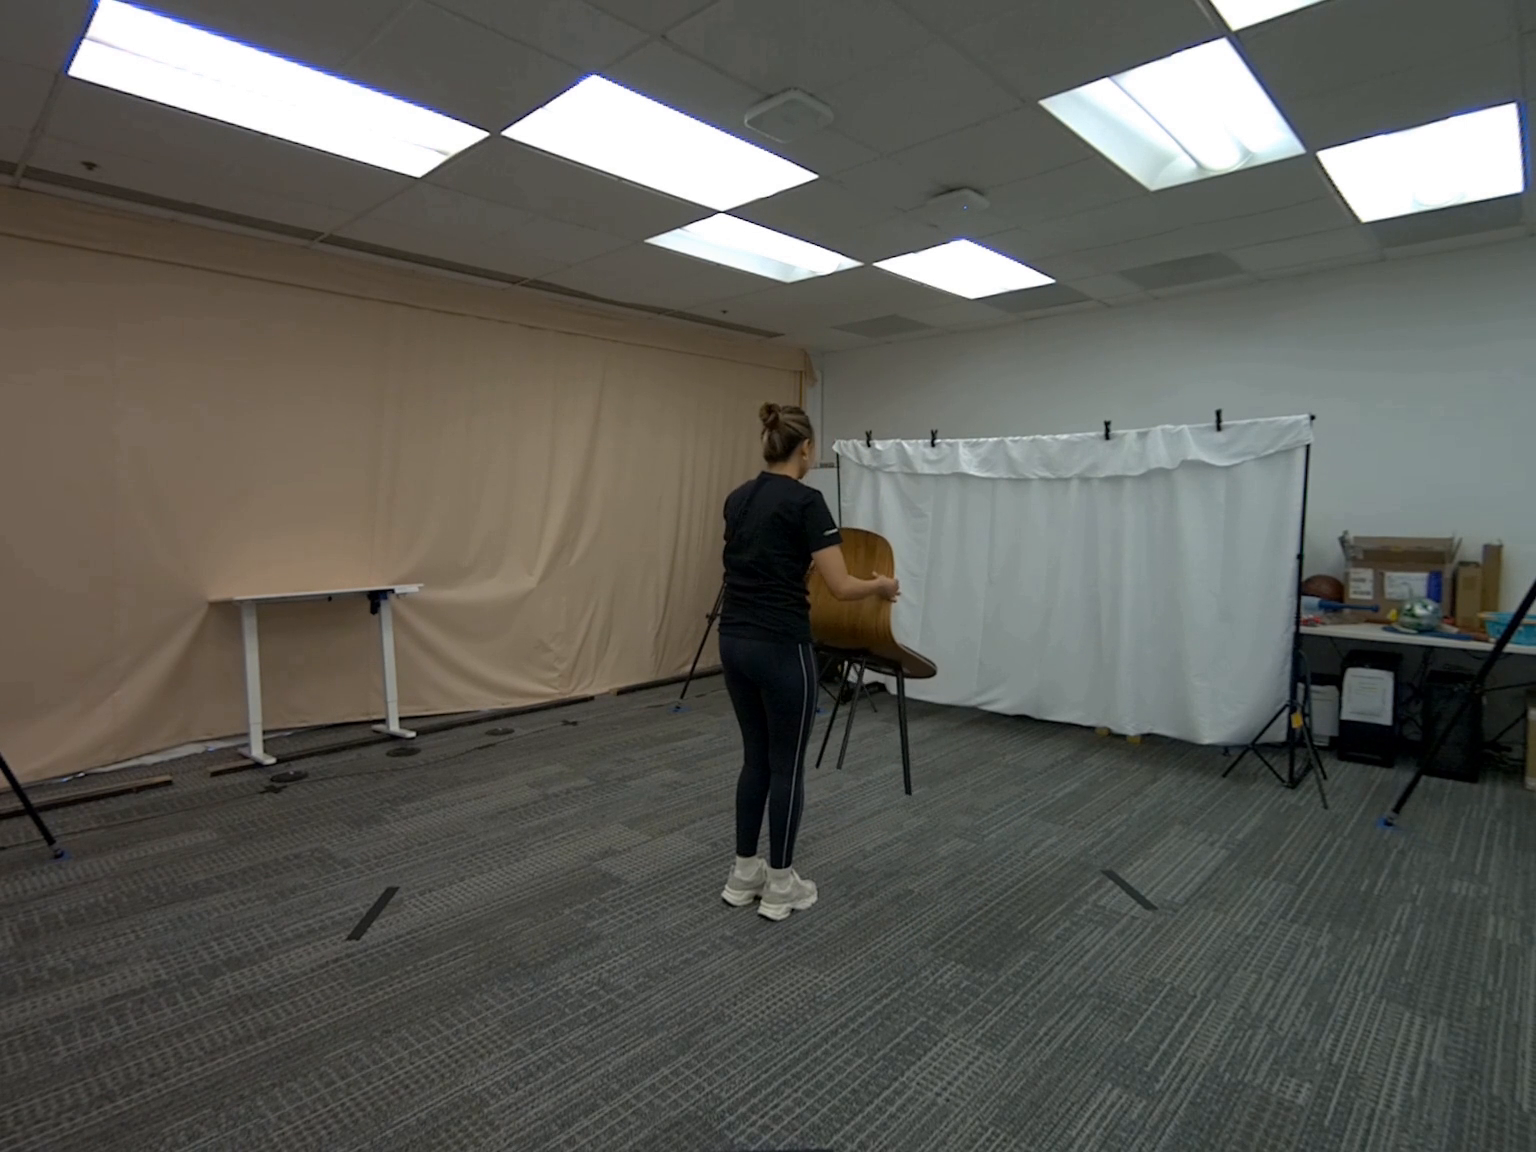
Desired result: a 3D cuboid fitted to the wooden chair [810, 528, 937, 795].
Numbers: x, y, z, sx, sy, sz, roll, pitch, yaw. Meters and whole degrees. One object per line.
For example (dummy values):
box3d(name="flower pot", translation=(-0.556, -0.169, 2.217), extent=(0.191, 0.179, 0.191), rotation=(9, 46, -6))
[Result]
box3d(name="wooden chair", translation=(0.343, 0.317, 3.174), extent=(0.494, 0.881, 0.504), rotation=(2, -16, 45))
